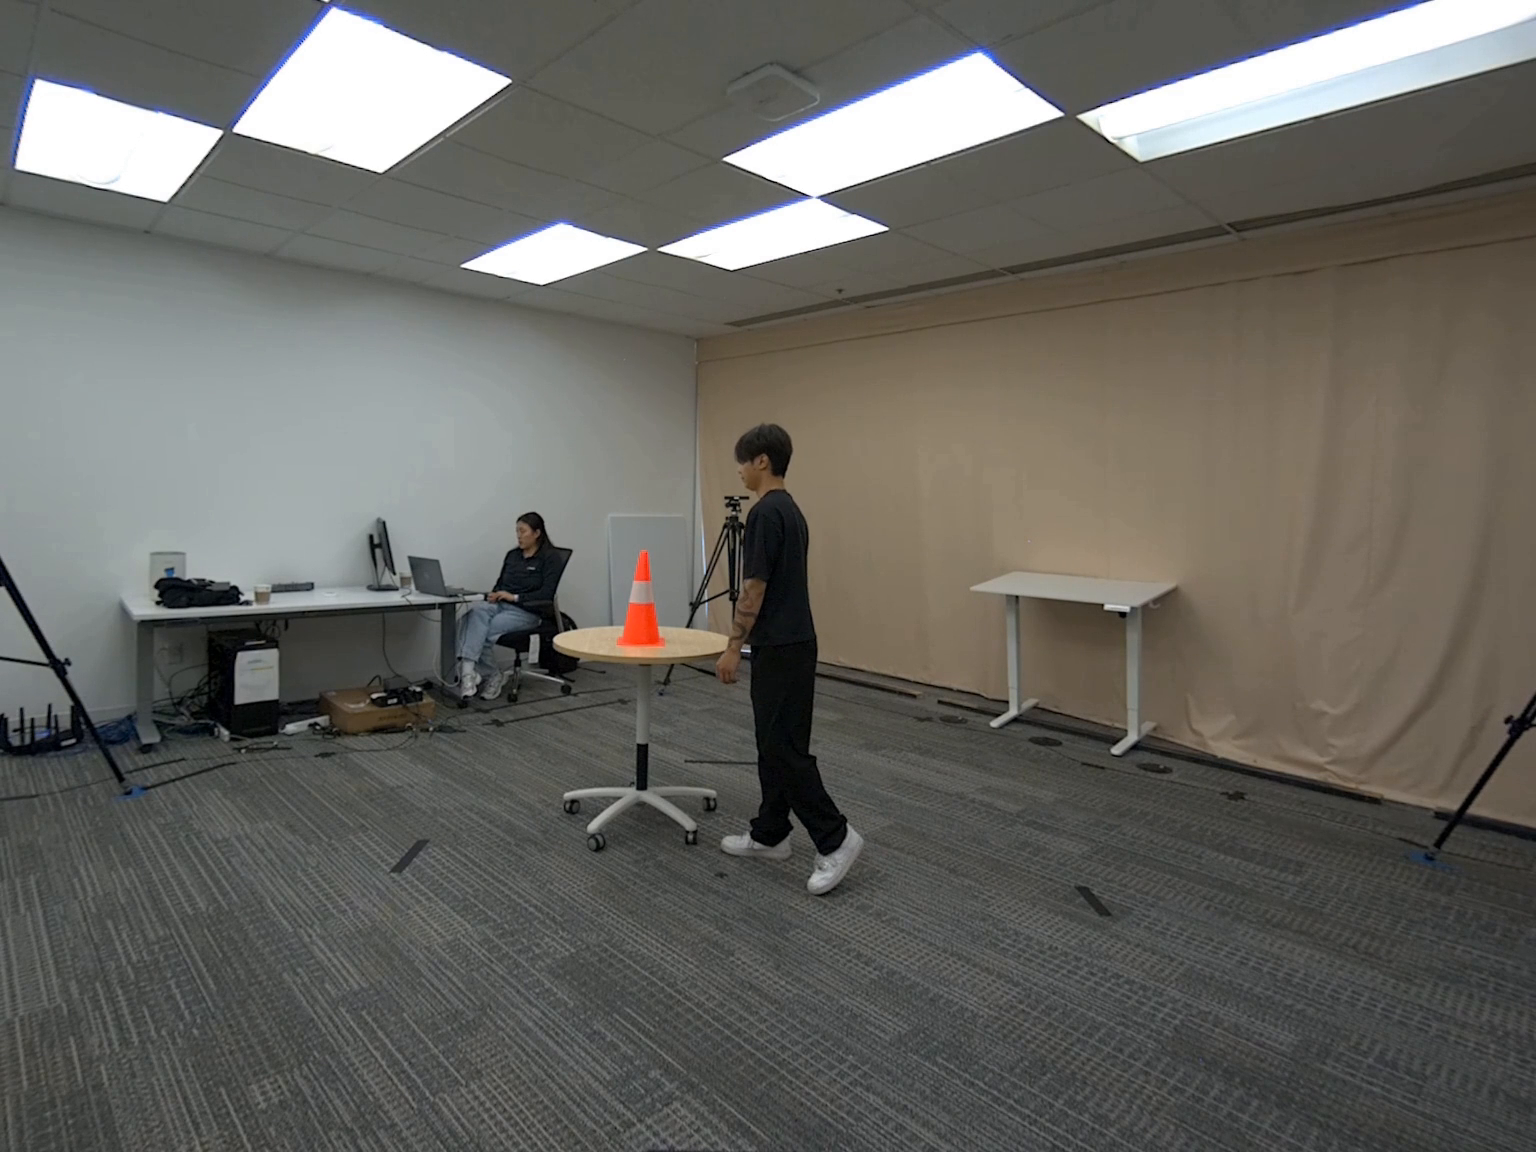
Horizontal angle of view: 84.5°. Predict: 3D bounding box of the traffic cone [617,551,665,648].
[{"bbox_3d":[-0.525,0.092,3.497,0.203,0.383,0.205,3,3,-9],"label":"traffic cone"}]
